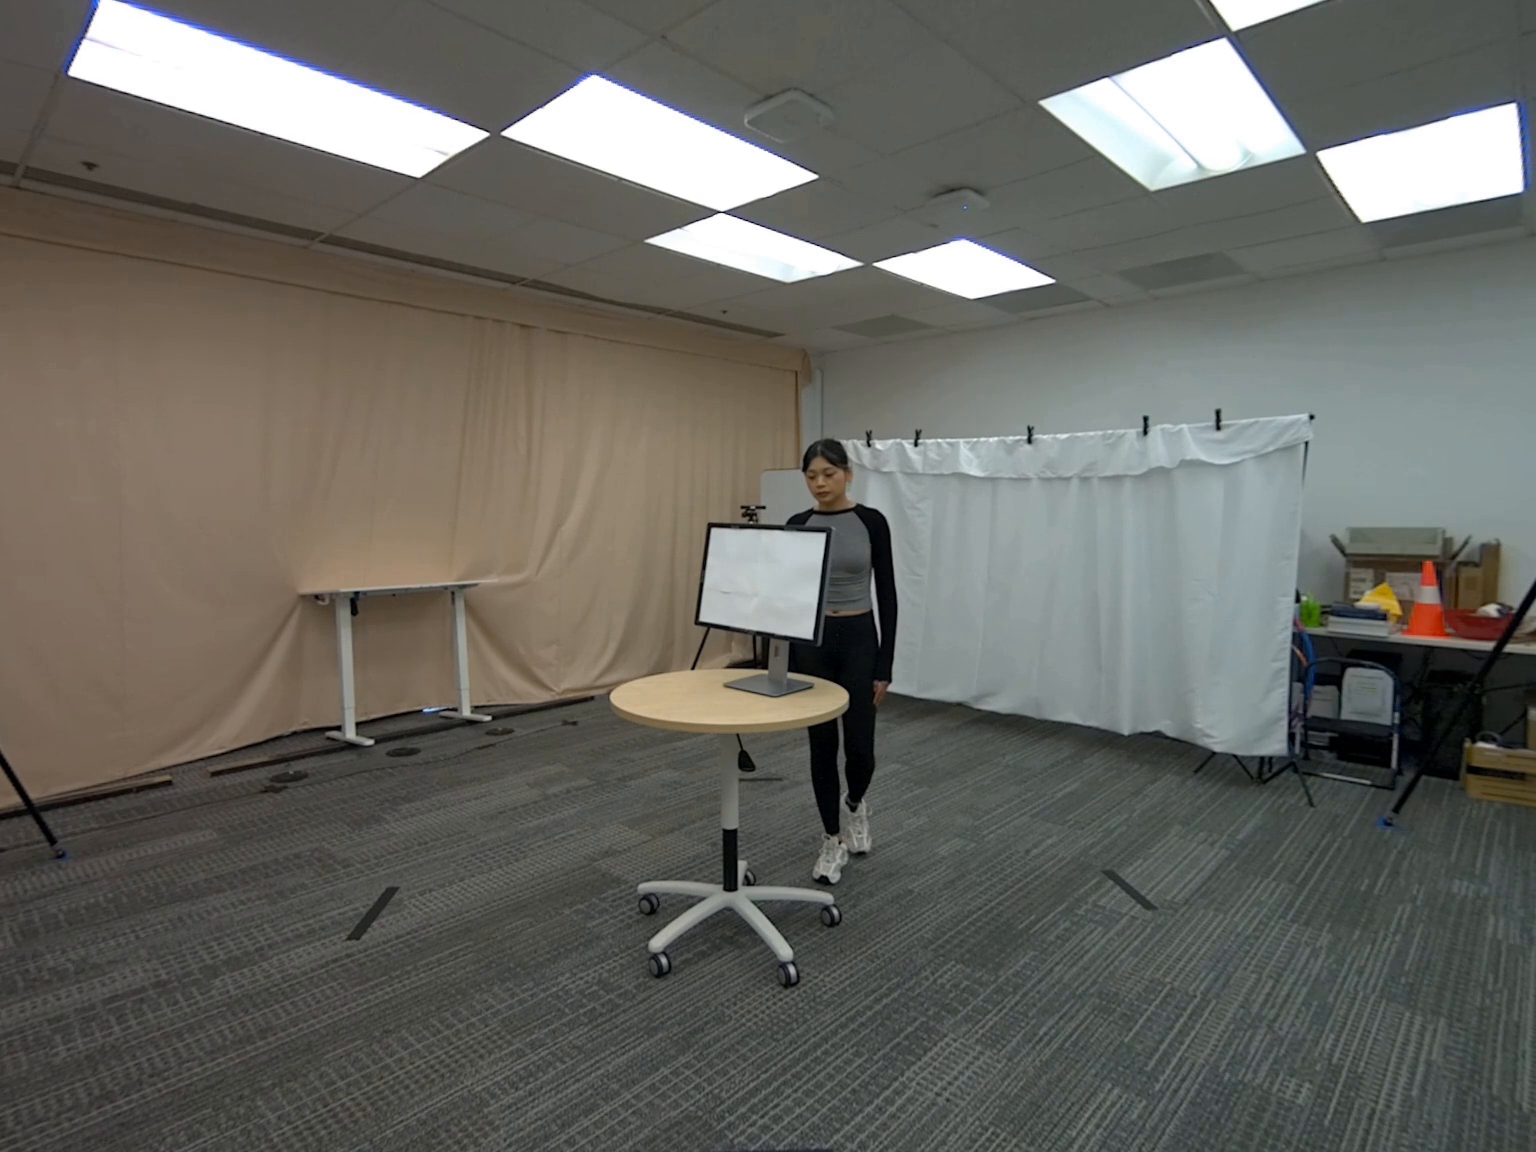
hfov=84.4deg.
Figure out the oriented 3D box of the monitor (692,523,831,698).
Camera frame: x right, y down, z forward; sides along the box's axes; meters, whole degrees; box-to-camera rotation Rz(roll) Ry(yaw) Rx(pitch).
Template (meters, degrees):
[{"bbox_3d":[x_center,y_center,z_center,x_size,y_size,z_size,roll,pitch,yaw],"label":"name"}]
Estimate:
[{"bbox_3d":[0.003,0.105,2.783,0.557,0.521,0.181,4,6,43],"label":"monitor"}]
